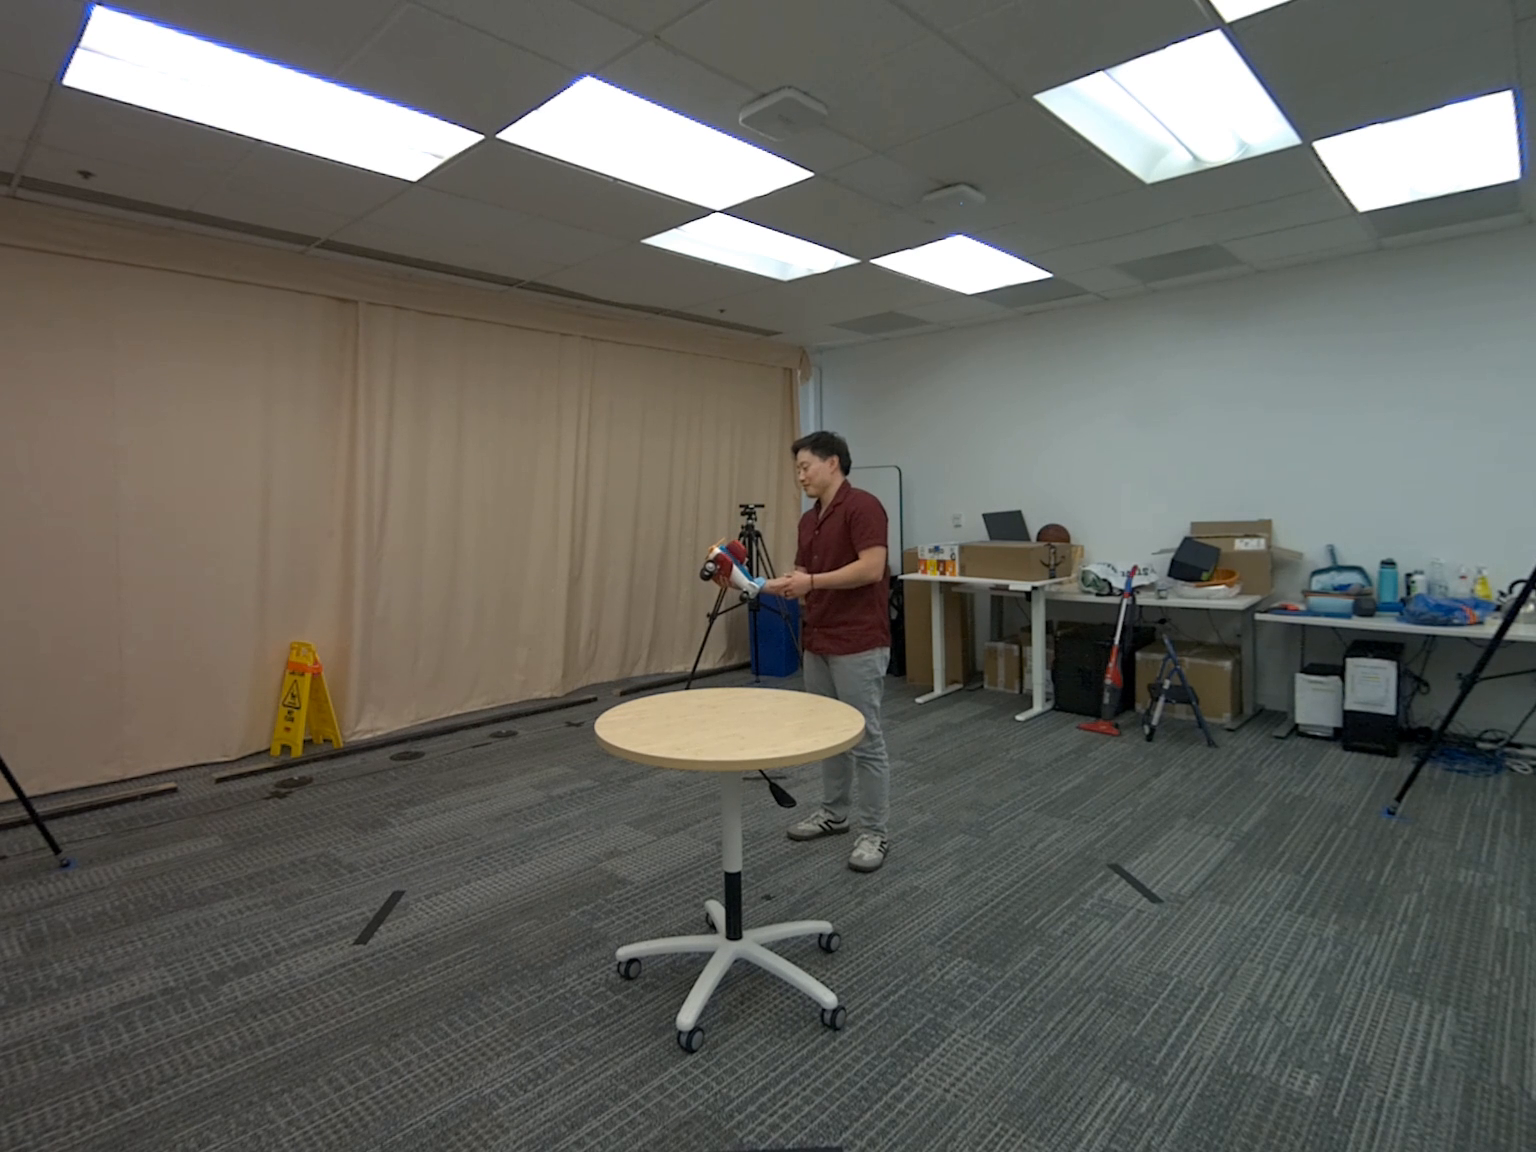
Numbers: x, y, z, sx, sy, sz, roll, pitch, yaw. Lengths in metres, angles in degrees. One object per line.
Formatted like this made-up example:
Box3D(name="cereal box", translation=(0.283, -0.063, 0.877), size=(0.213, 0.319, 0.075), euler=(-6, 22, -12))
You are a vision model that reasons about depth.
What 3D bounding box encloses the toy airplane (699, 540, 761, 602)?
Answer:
Box3D(name="toy airplane", translation=(-0.146, -0.011, 3.373), size=(0.253, 0.156, 0.258), euler=(46, -28, -22))
